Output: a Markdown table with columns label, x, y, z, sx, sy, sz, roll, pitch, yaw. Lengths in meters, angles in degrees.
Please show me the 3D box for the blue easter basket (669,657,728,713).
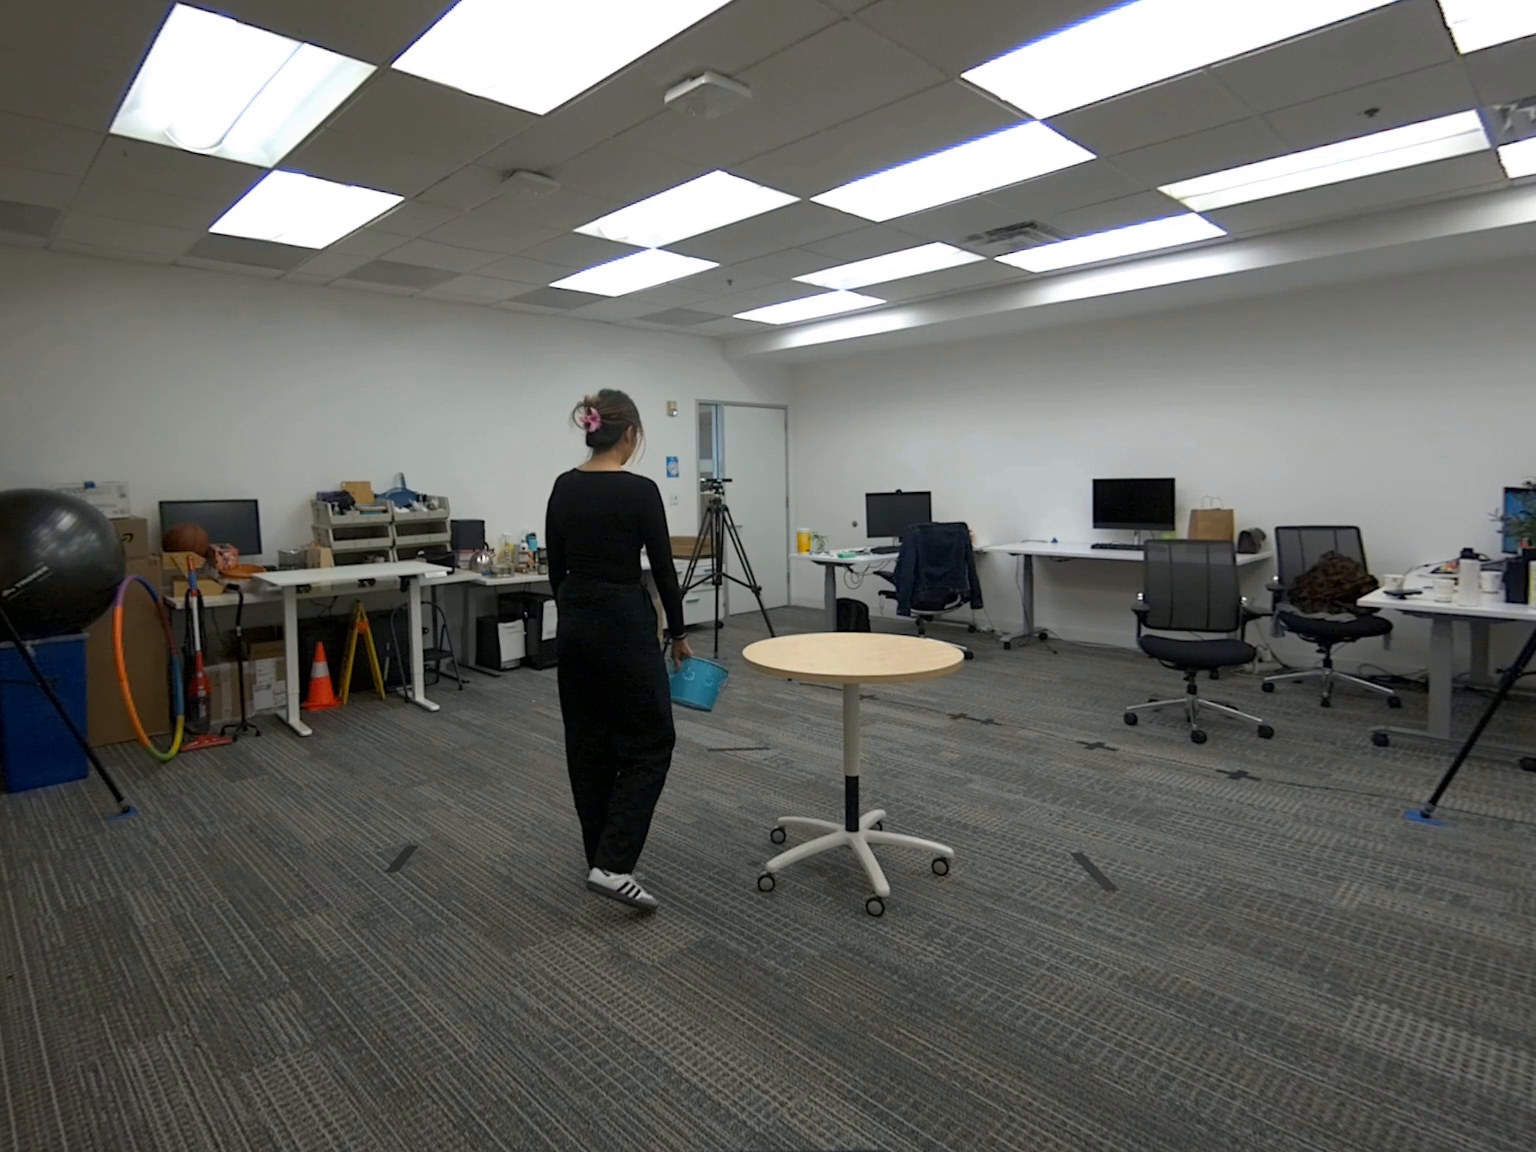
| label | x | y | z | sx | sy | sz | roll | pitch | yaw |
| --- | --- | --- | --- | --- | --- | --- | --- | --- | --- |
| blue easter basket | -0.262 | 0.389 | 3.114 | 0.245 | 0.157 | 0.240 | 15 | -17 | 3 |
